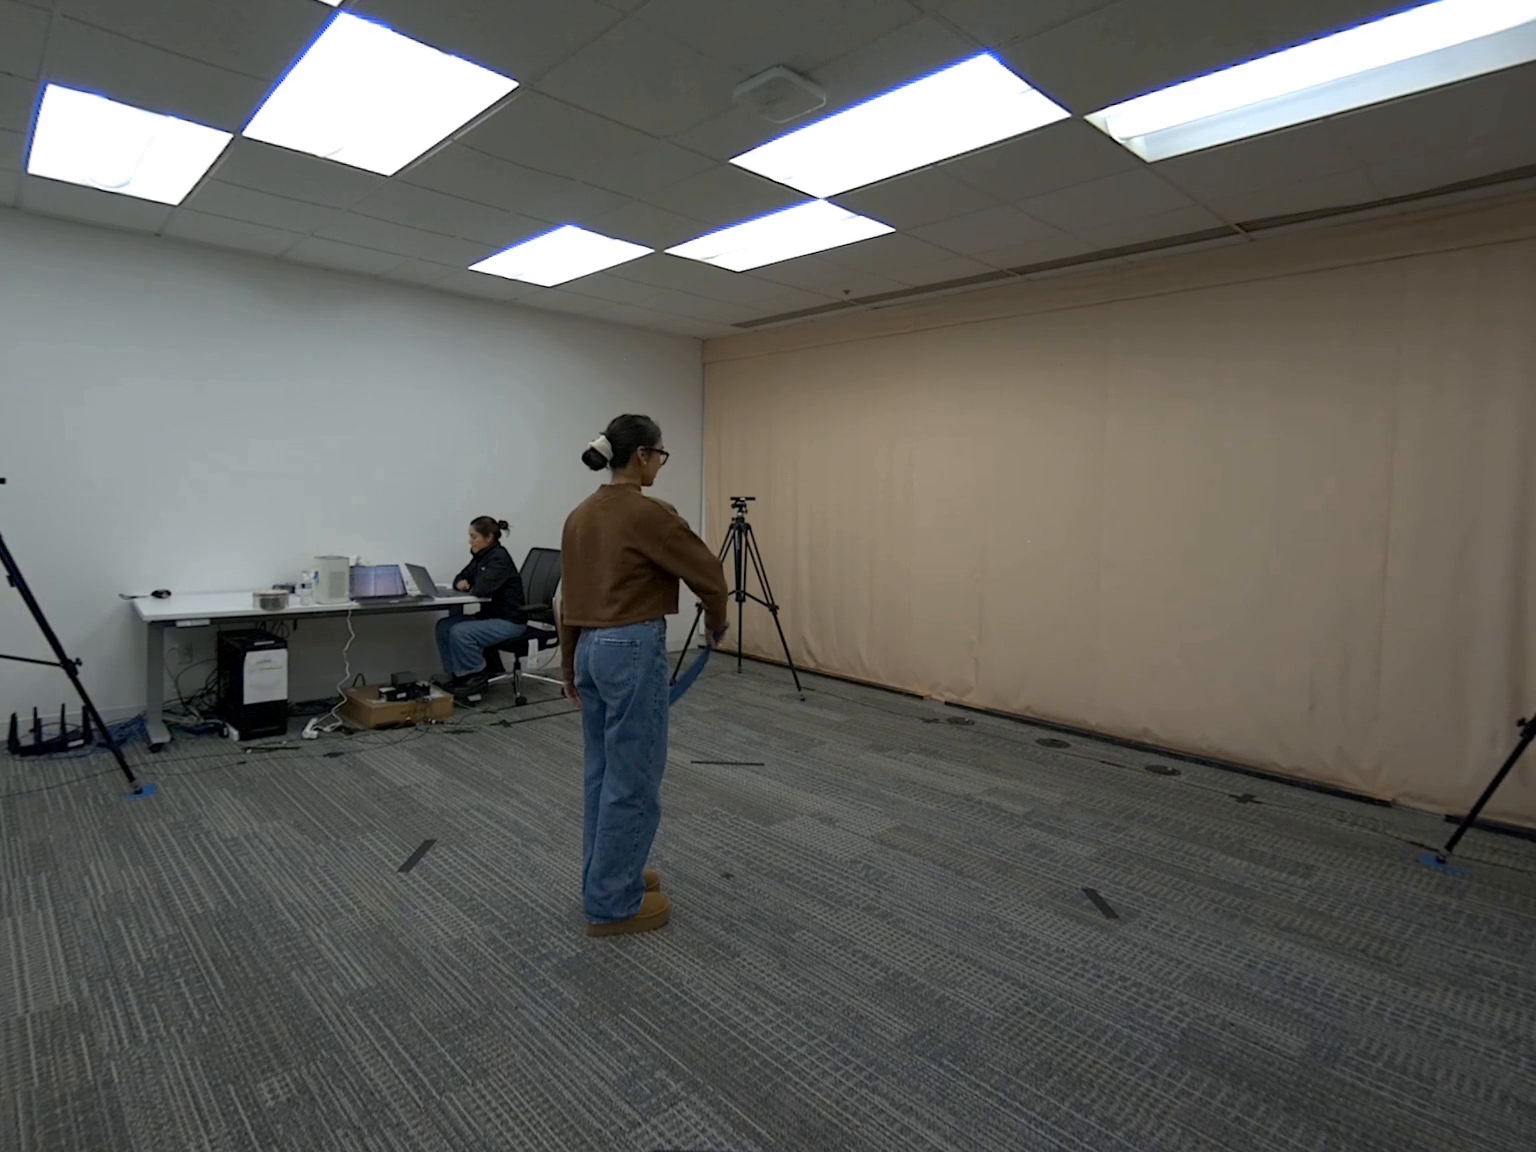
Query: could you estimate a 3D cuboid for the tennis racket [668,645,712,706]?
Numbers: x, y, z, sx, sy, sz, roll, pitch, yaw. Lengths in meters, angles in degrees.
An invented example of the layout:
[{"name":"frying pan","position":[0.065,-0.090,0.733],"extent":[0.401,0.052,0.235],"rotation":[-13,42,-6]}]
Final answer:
[{"name":"tennis racket","position":[-0.264,0.285,3.009],"extent":[0.032,0.432,0.212],"rotation":[40,22,9]}]
